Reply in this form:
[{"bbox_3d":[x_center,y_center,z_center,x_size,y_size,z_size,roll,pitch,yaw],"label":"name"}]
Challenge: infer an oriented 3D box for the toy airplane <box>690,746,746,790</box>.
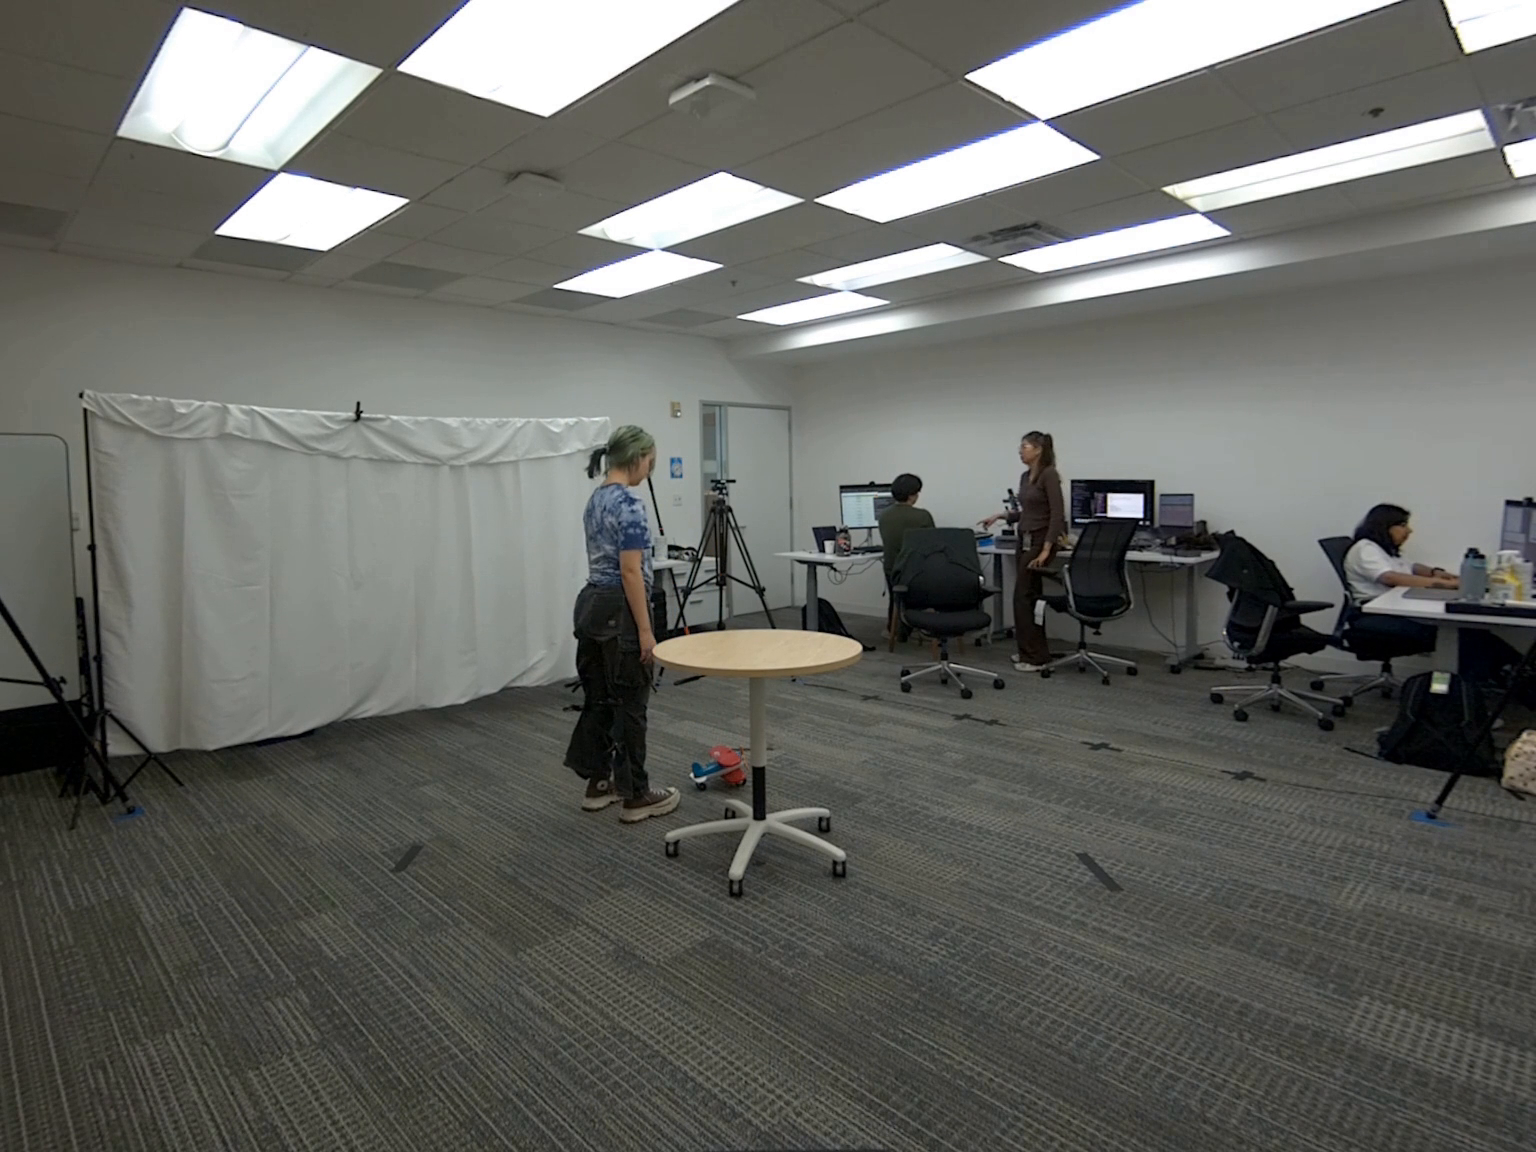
[{"bbox_3d":[-0.212,0.887,3.894,0.258,0.156,0.252,3,6,37],"label":"toy airplane"}]
